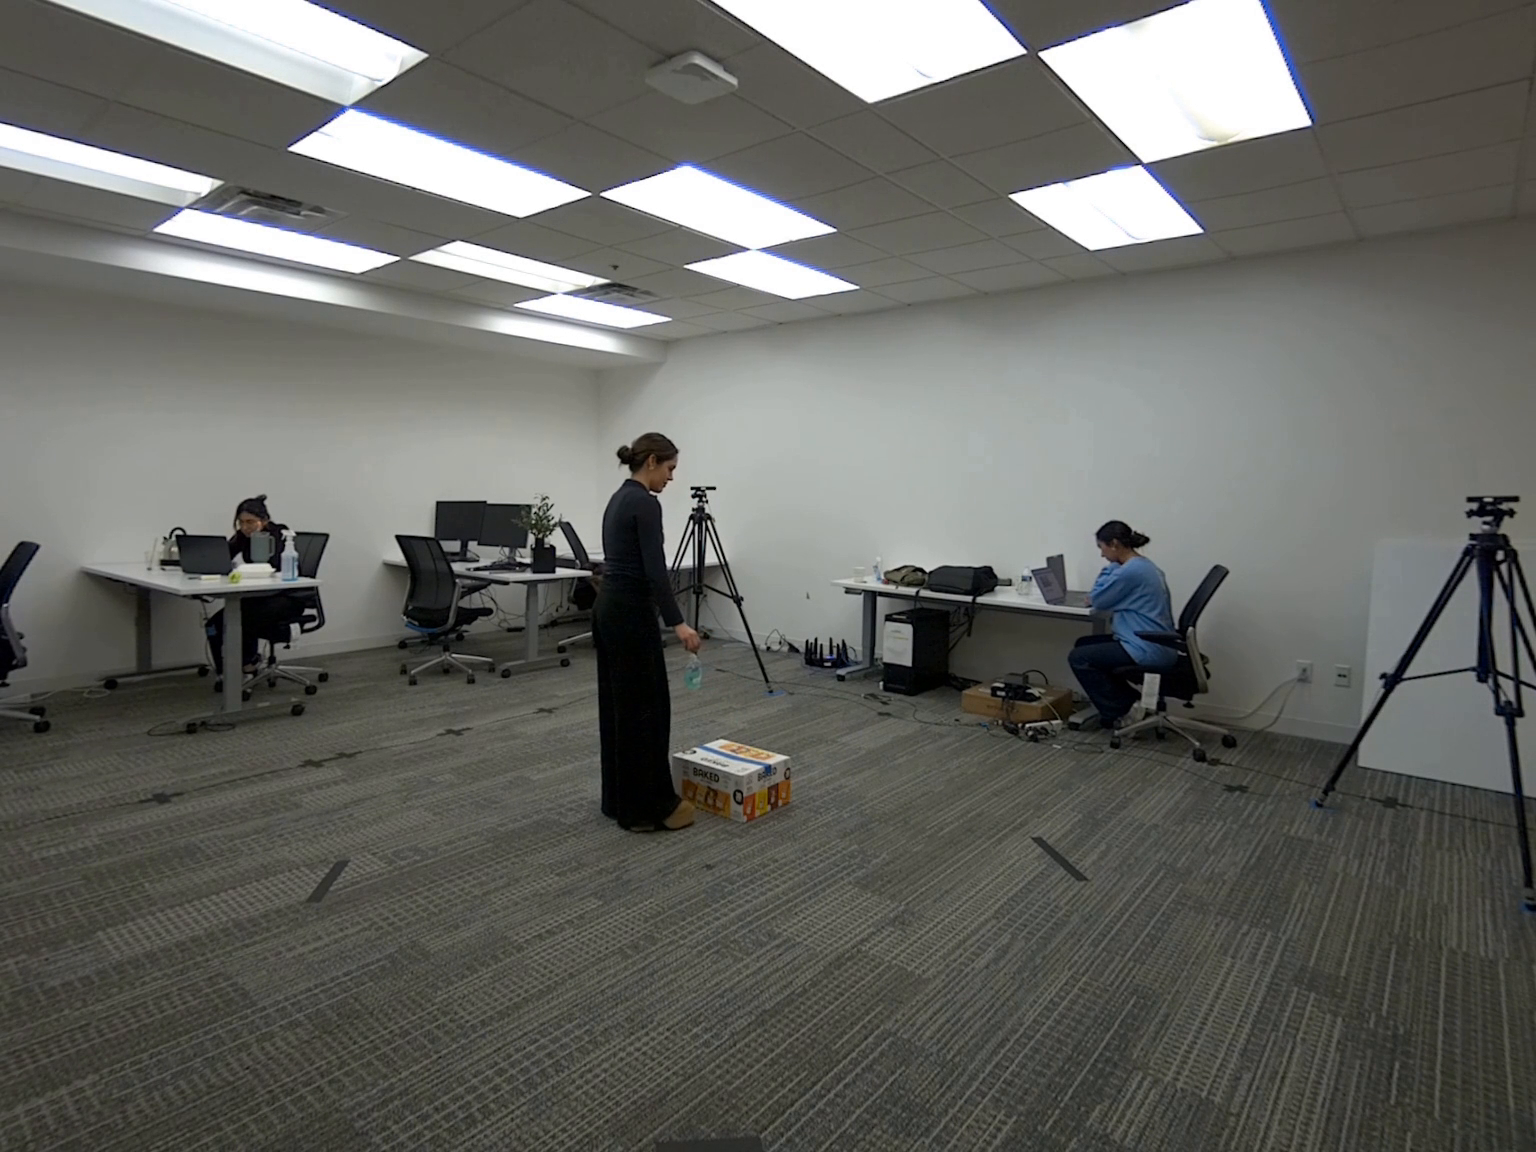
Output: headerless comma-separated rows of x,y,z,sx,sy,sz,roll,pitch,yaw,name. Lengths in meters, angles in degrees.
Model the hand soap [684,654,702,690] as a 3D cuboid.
-0.308,0.365,3.376,0.082,0.168,0.045,-4,3,-43,hand soap
